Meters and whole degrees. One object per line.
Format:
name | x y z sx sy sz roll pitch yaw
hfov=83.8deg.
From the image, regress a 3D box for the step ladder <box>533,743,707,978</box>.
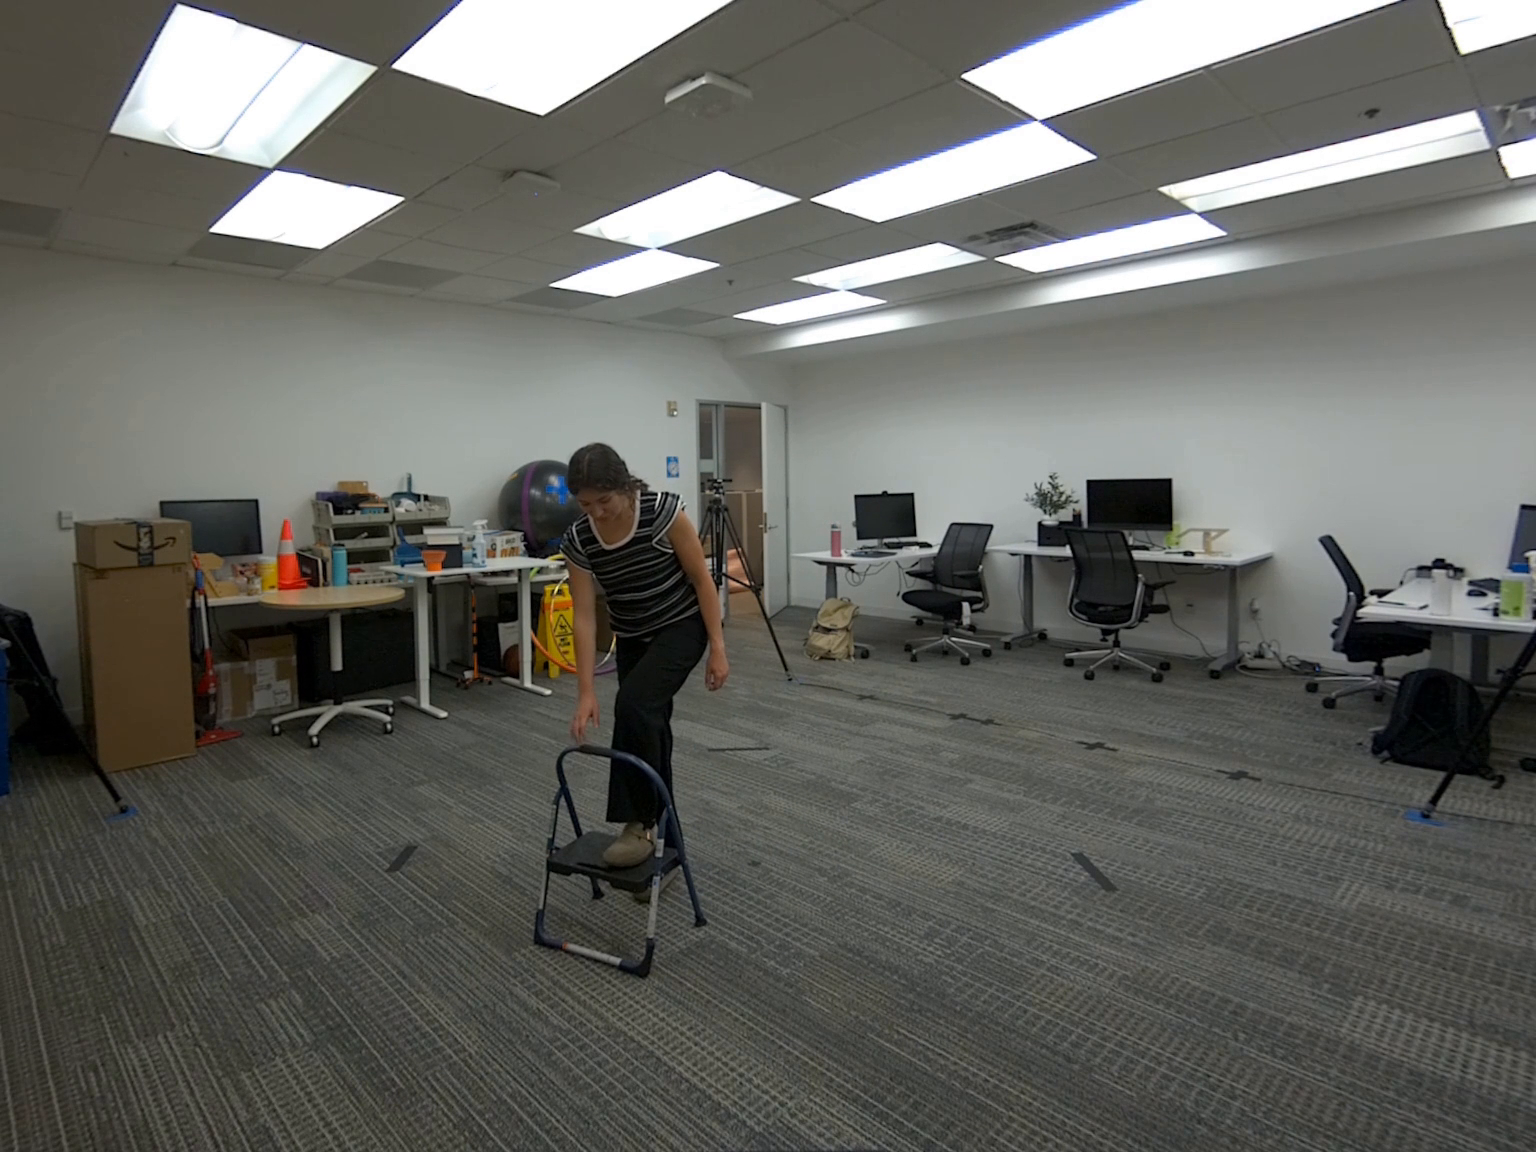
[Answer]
step ladder | -0.461 0.805 2.628 0.441 0.603 0.342 1 5 26
